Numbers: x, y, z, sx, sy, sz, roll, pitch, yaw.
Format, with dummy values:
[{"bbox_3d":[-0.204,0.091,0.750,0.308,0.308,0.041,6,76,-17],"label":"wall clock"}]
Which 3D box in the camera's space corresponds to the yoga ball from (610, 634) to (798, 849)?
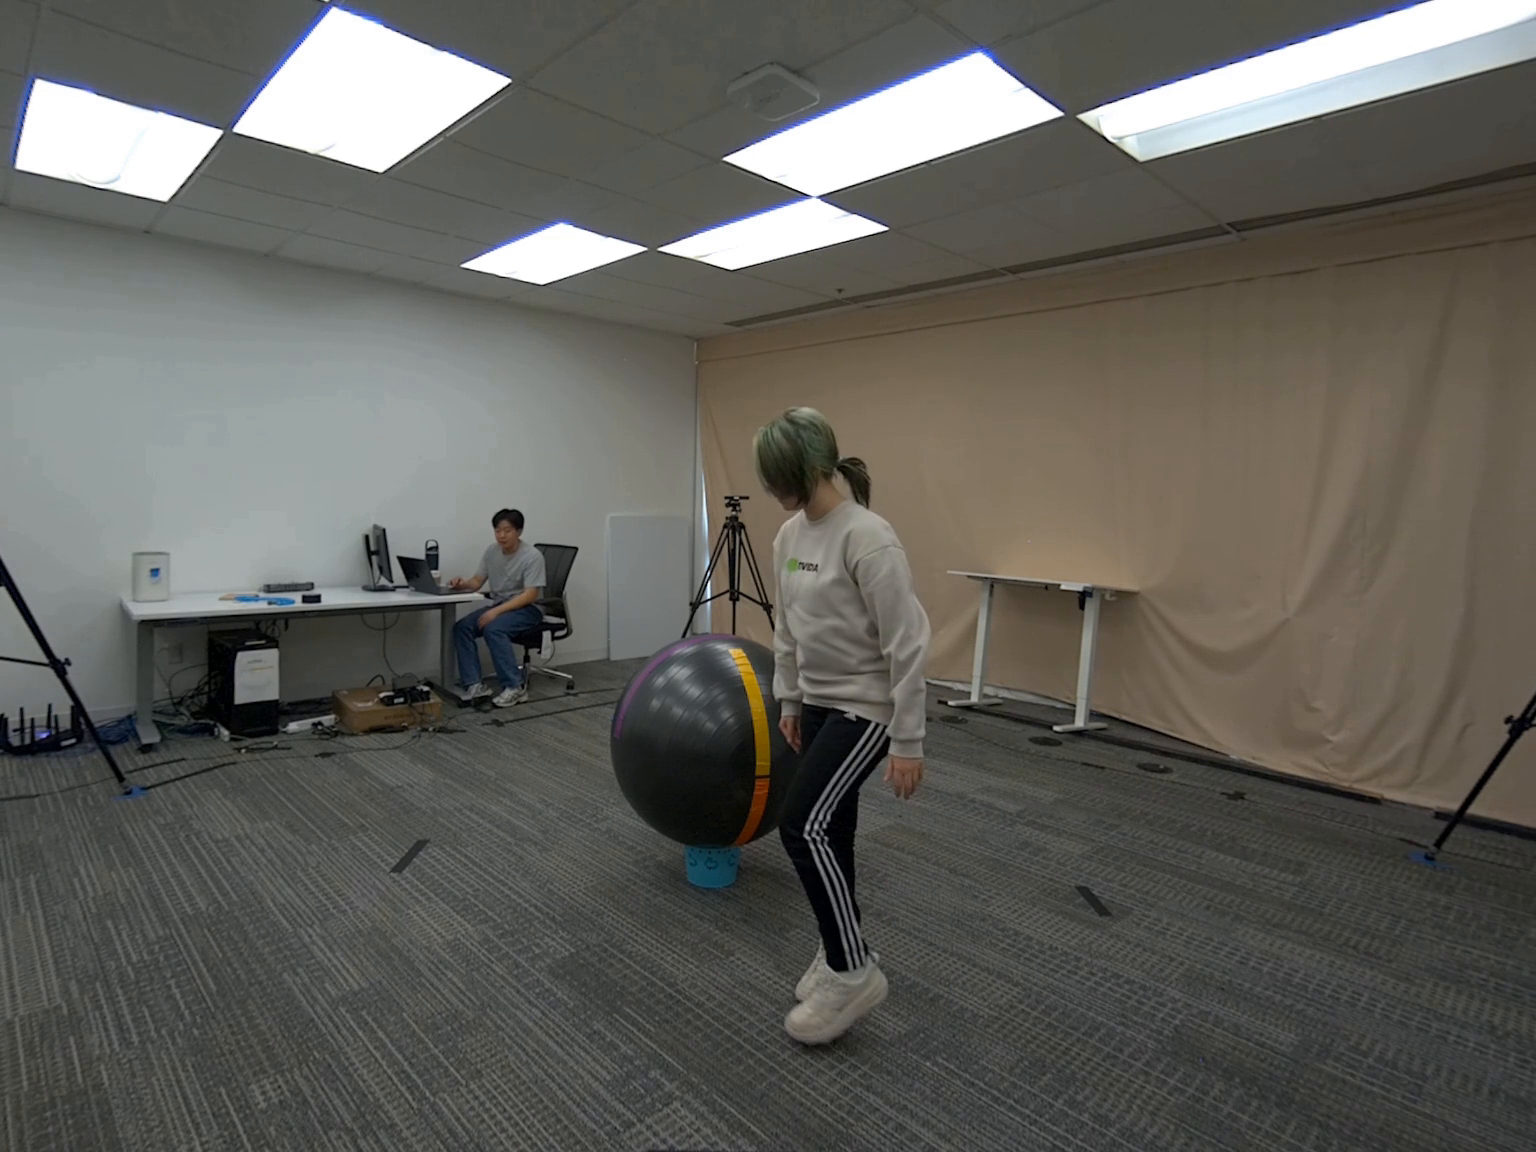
[{"bbox_3d":[-0.195,0.592,3.062,0.757,0.756,0.761,1,4,-1],"label":"yoga ball"}]
